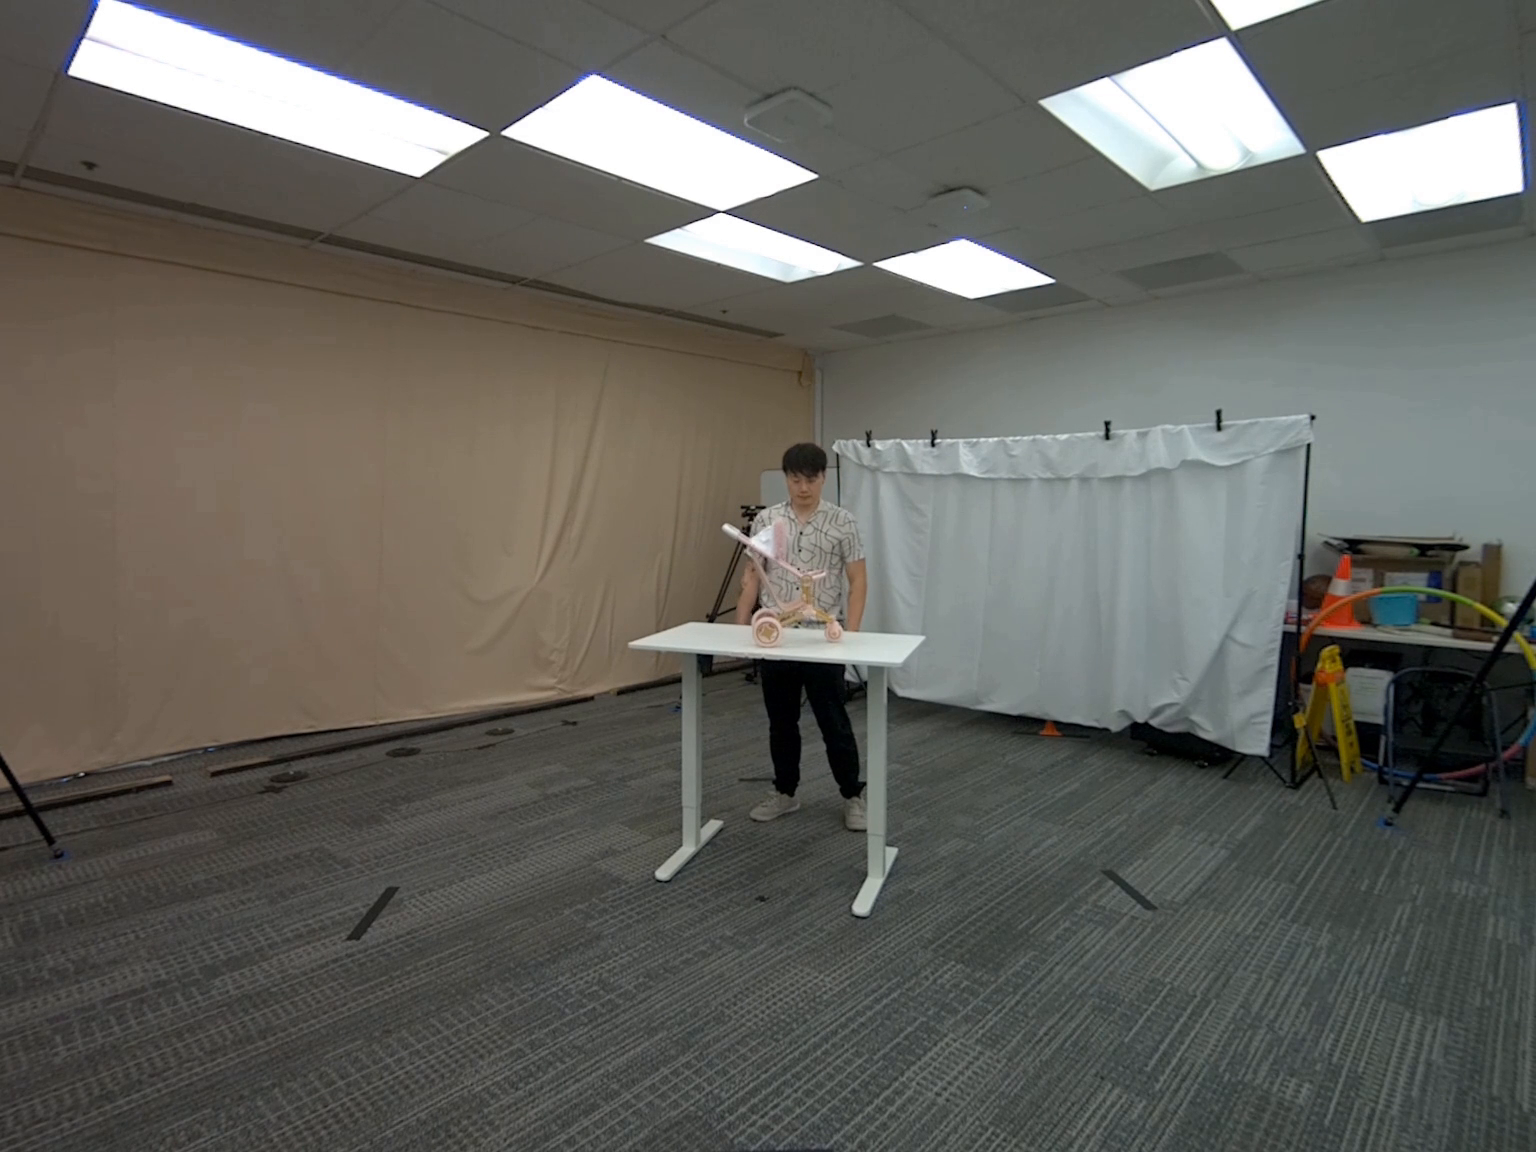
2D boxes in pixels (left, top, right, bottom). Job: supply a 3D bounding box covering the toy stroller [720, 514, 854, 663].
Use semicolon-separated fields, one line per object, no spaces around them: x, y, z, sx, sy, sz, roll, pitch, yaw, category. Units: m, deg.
0.073;0.020;3.129;0.343;0.534;0.280;-15;2;7;toy stroller
